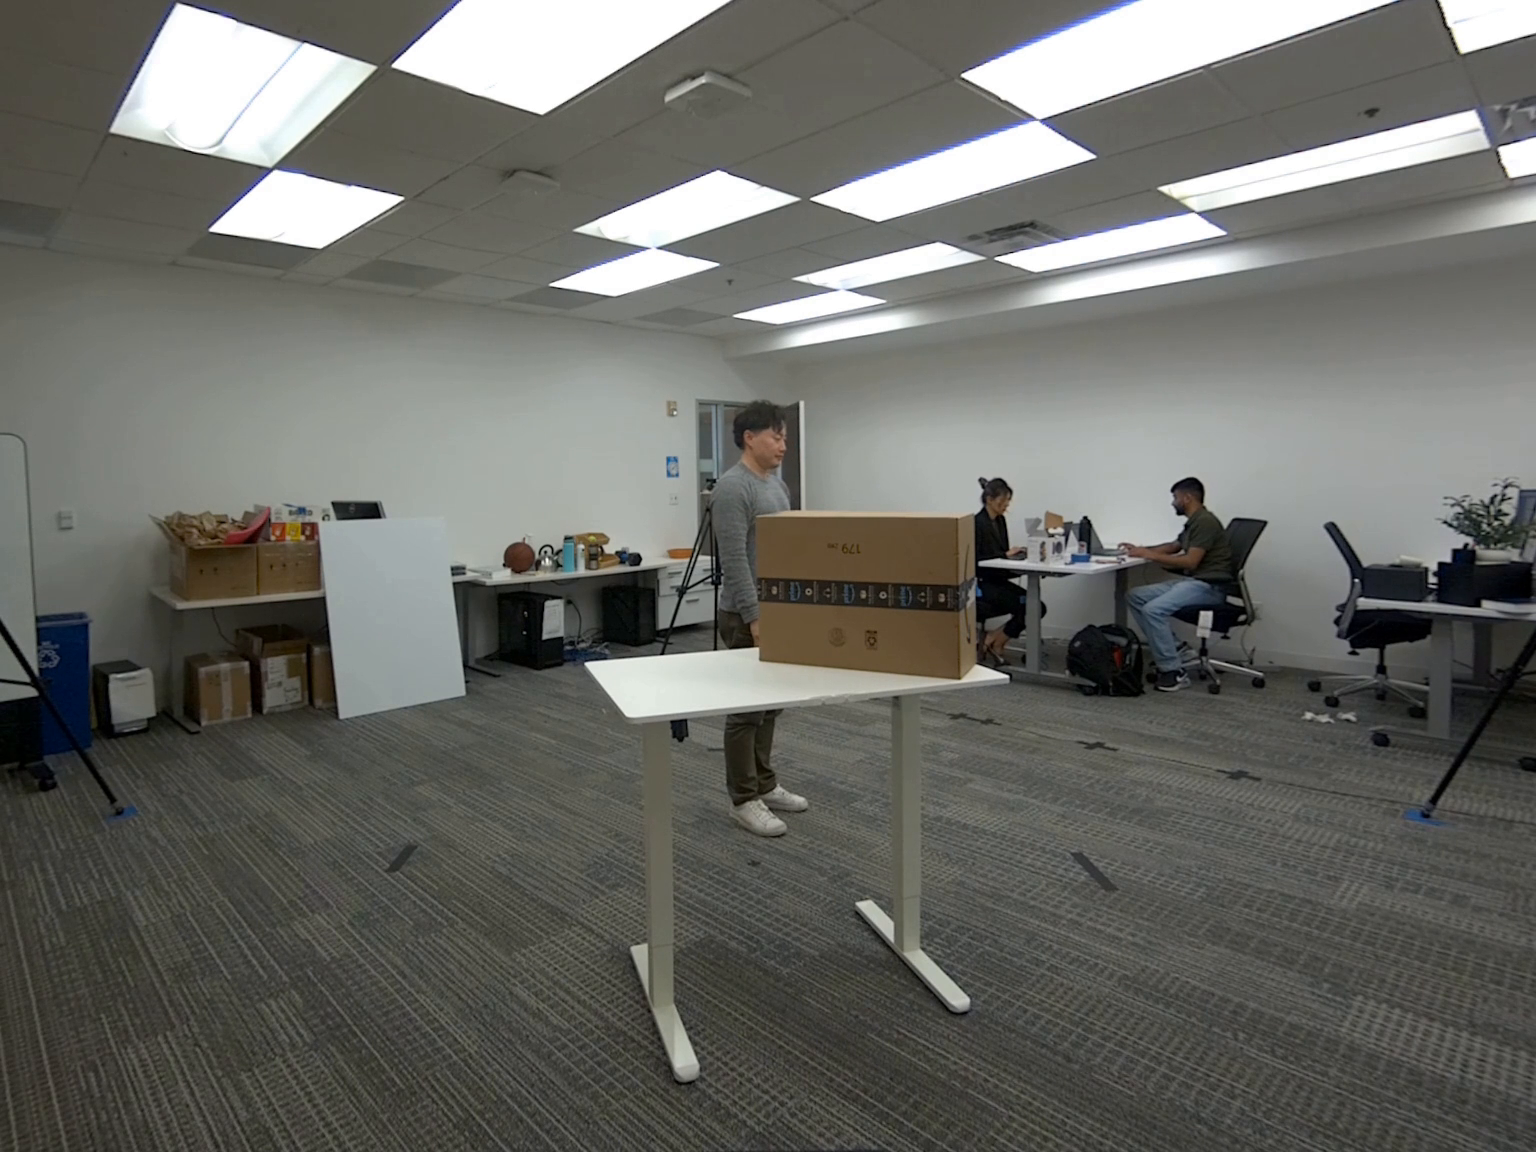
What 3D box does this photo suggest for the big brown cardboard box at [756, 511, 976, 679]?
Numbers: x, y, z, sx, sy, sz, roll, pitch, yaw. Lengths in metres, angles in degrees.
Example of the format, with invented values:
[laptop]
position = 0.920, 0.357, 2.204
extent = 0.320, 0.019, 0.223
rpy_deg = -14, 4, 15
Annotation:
[big brown cardboard box]
position = 0.266, 0.040, 2.363
extent = 0.602, 0.415, 0.229
rpy_deg = 2, 7, 23
